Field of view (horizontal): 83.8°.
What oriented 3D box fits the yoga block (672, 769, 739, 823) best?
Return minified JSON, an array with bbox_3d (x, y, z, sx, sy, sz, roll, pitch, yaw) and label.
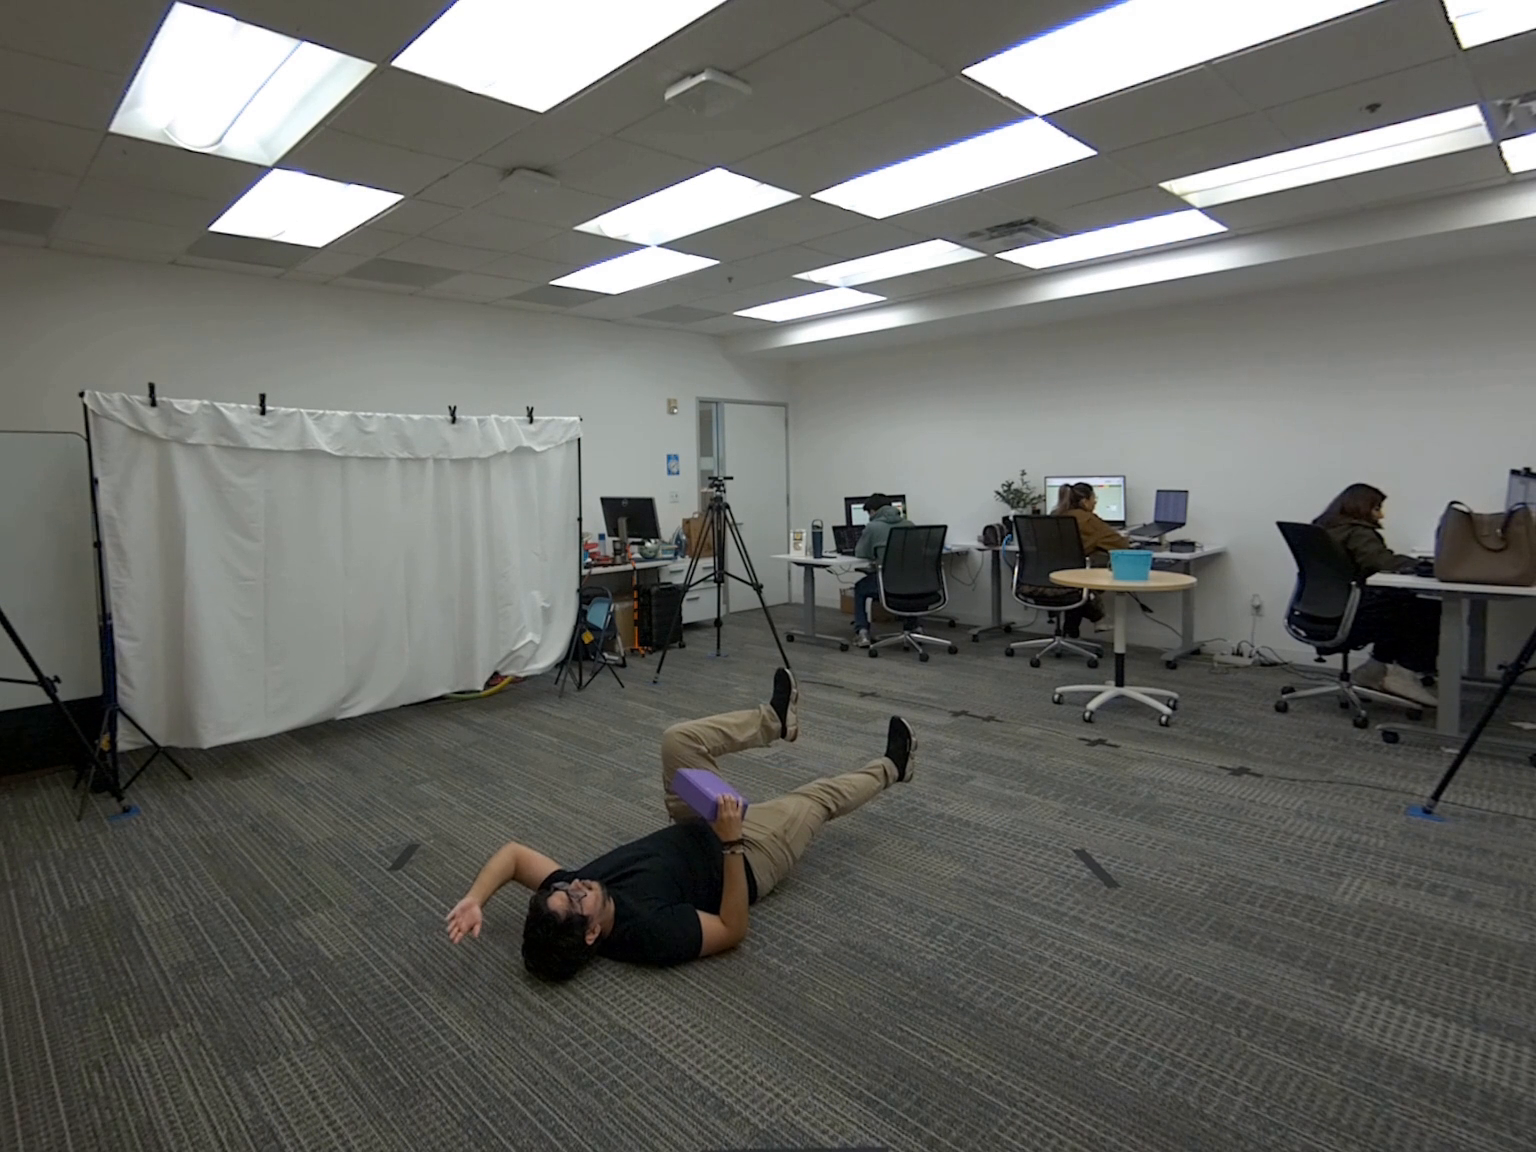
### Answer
[{"bbox_3d":[-0.173,0.709,2.721,0.145,0.076,0.236,16,5,-29],"label":"yoga block"}]
